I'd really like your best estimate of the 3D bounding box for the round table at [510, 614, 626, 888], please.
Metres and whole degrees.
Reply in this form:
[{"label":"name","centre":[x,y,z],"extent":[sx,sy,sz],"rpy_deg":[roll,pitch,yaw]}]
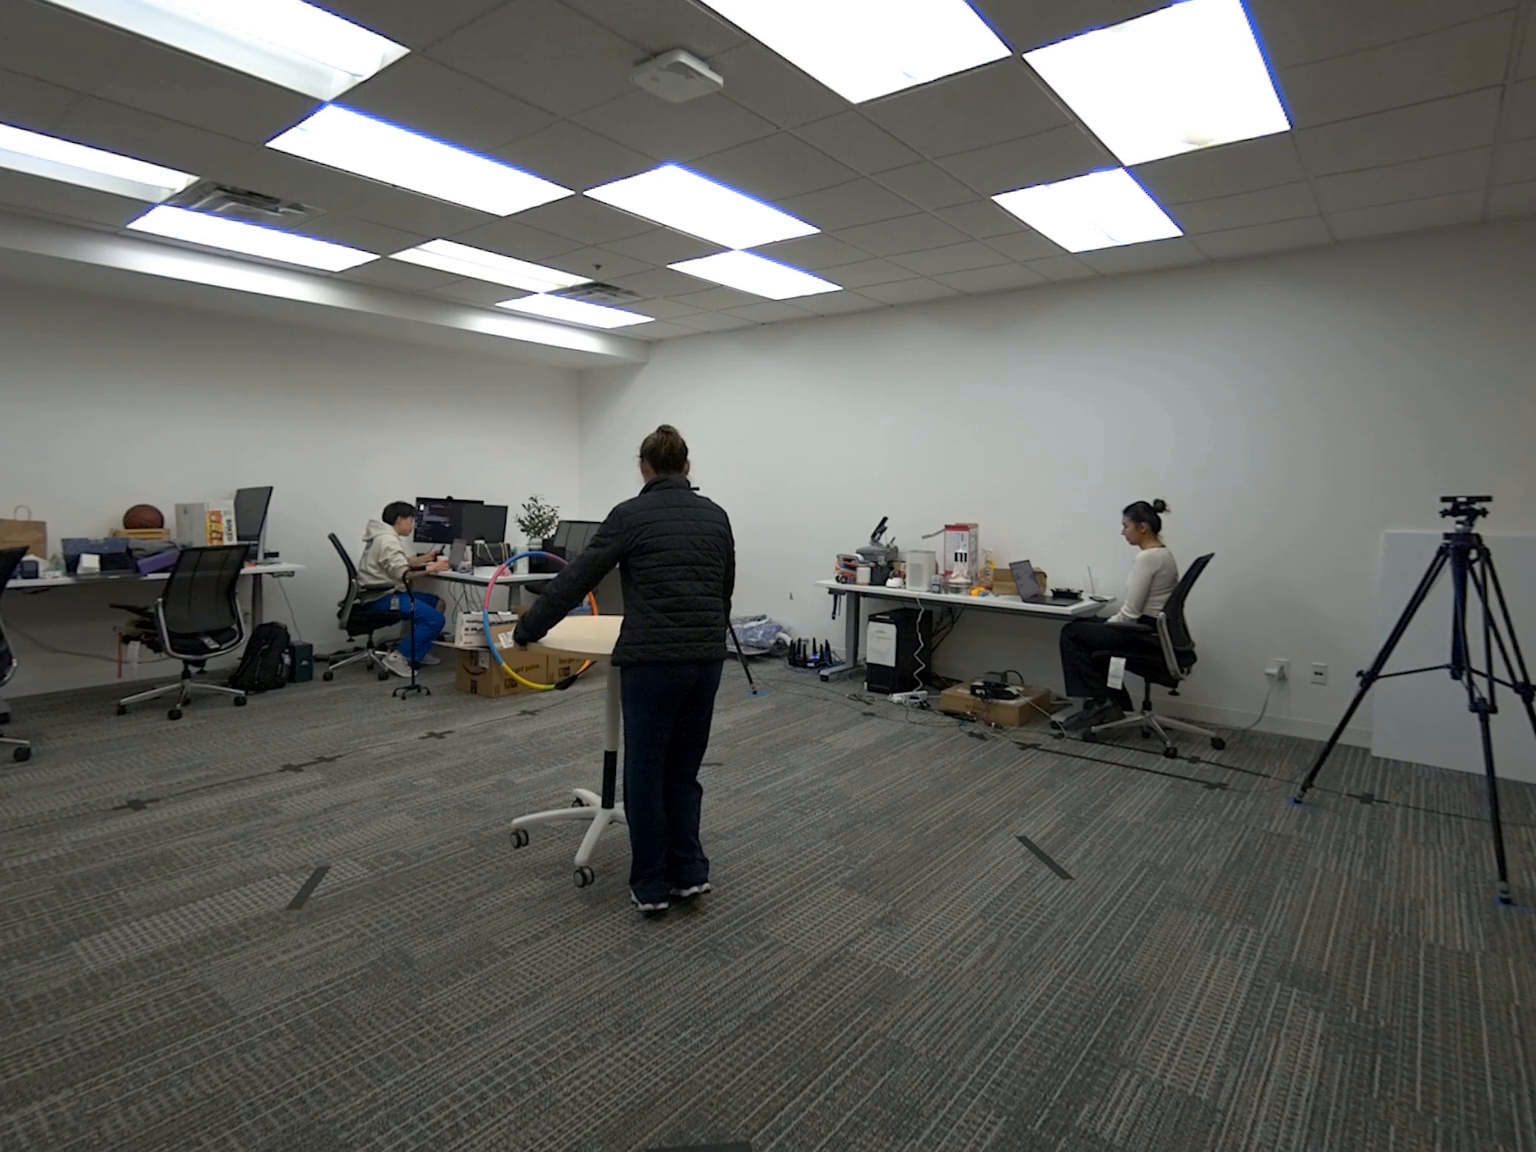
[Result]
[{"label":"round table","centre":[-0.565,0.606,3.188],"extent":[0.784,0.784,0.789],"rpy_deg":[3,5,-2]}]
